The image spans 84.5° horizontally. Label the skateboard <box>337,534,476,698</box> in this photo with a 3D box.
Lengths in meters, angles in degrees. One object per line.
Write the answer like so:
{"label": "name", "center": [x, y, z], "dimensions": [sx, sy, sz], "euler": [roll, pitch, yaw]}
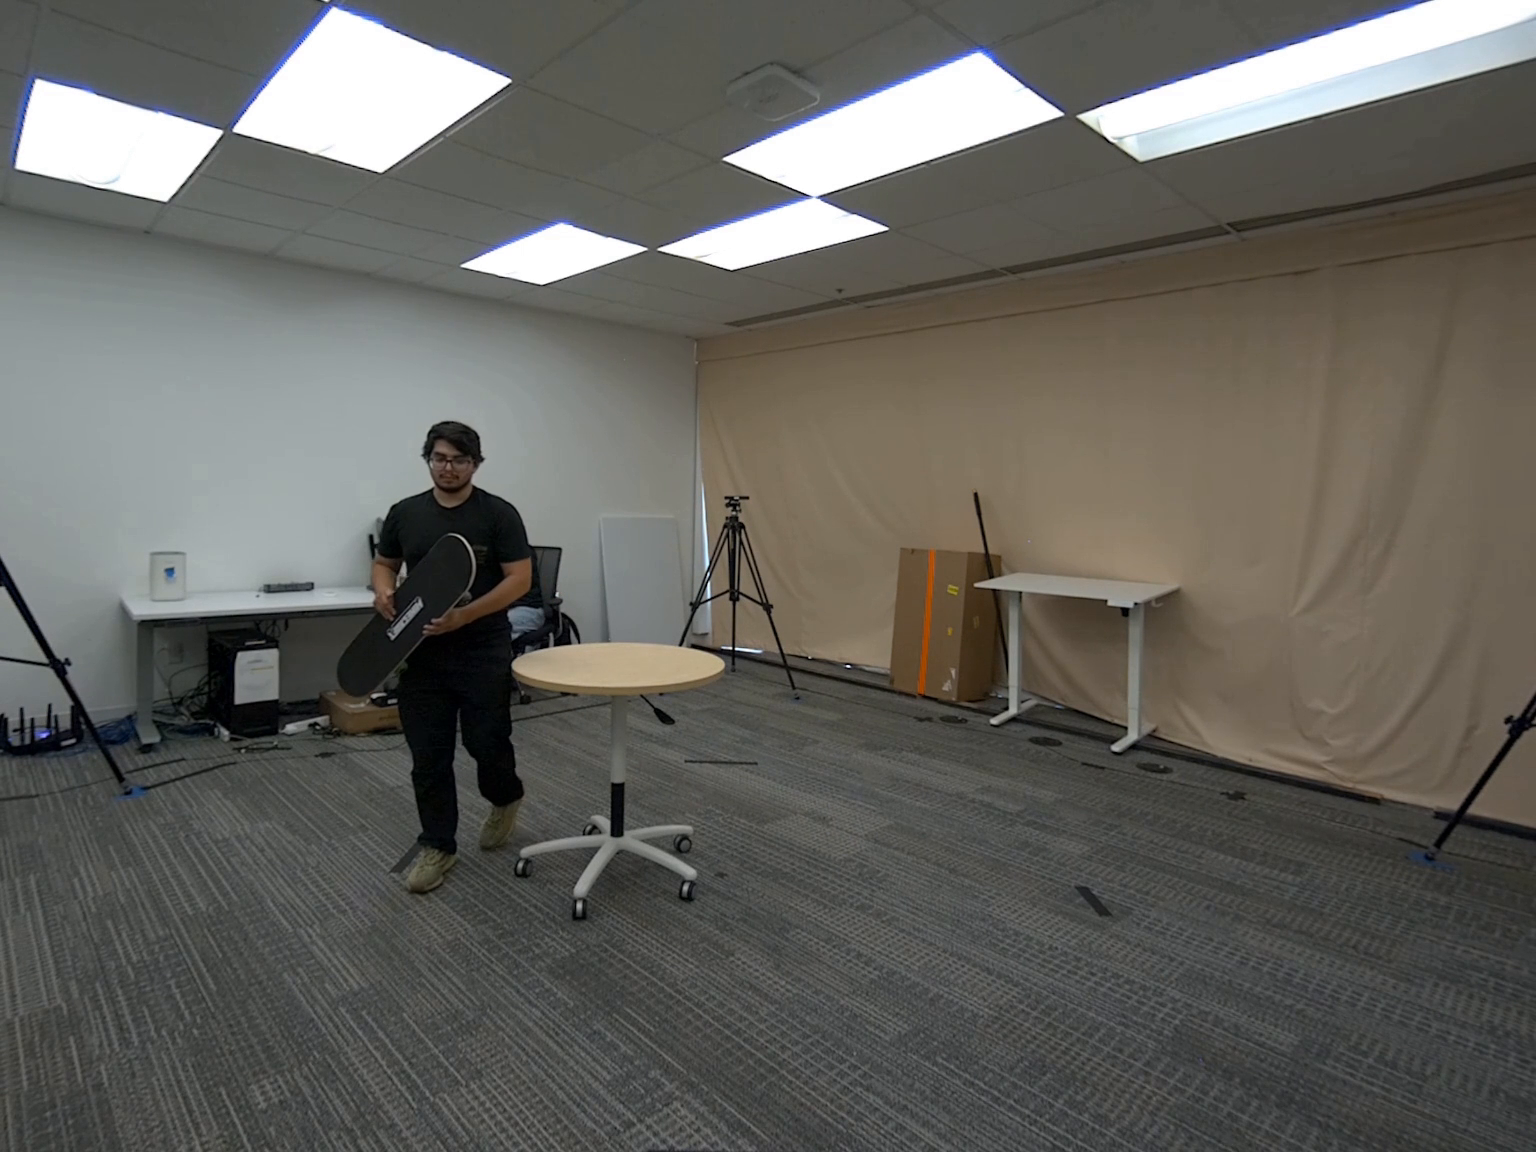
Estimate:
{"label": "skateboard", "center": [-1.205, 0.138, 2.853], "dimensions": [0.787, 0.196, 0.108], "euler": [-42, -13, 22]}
